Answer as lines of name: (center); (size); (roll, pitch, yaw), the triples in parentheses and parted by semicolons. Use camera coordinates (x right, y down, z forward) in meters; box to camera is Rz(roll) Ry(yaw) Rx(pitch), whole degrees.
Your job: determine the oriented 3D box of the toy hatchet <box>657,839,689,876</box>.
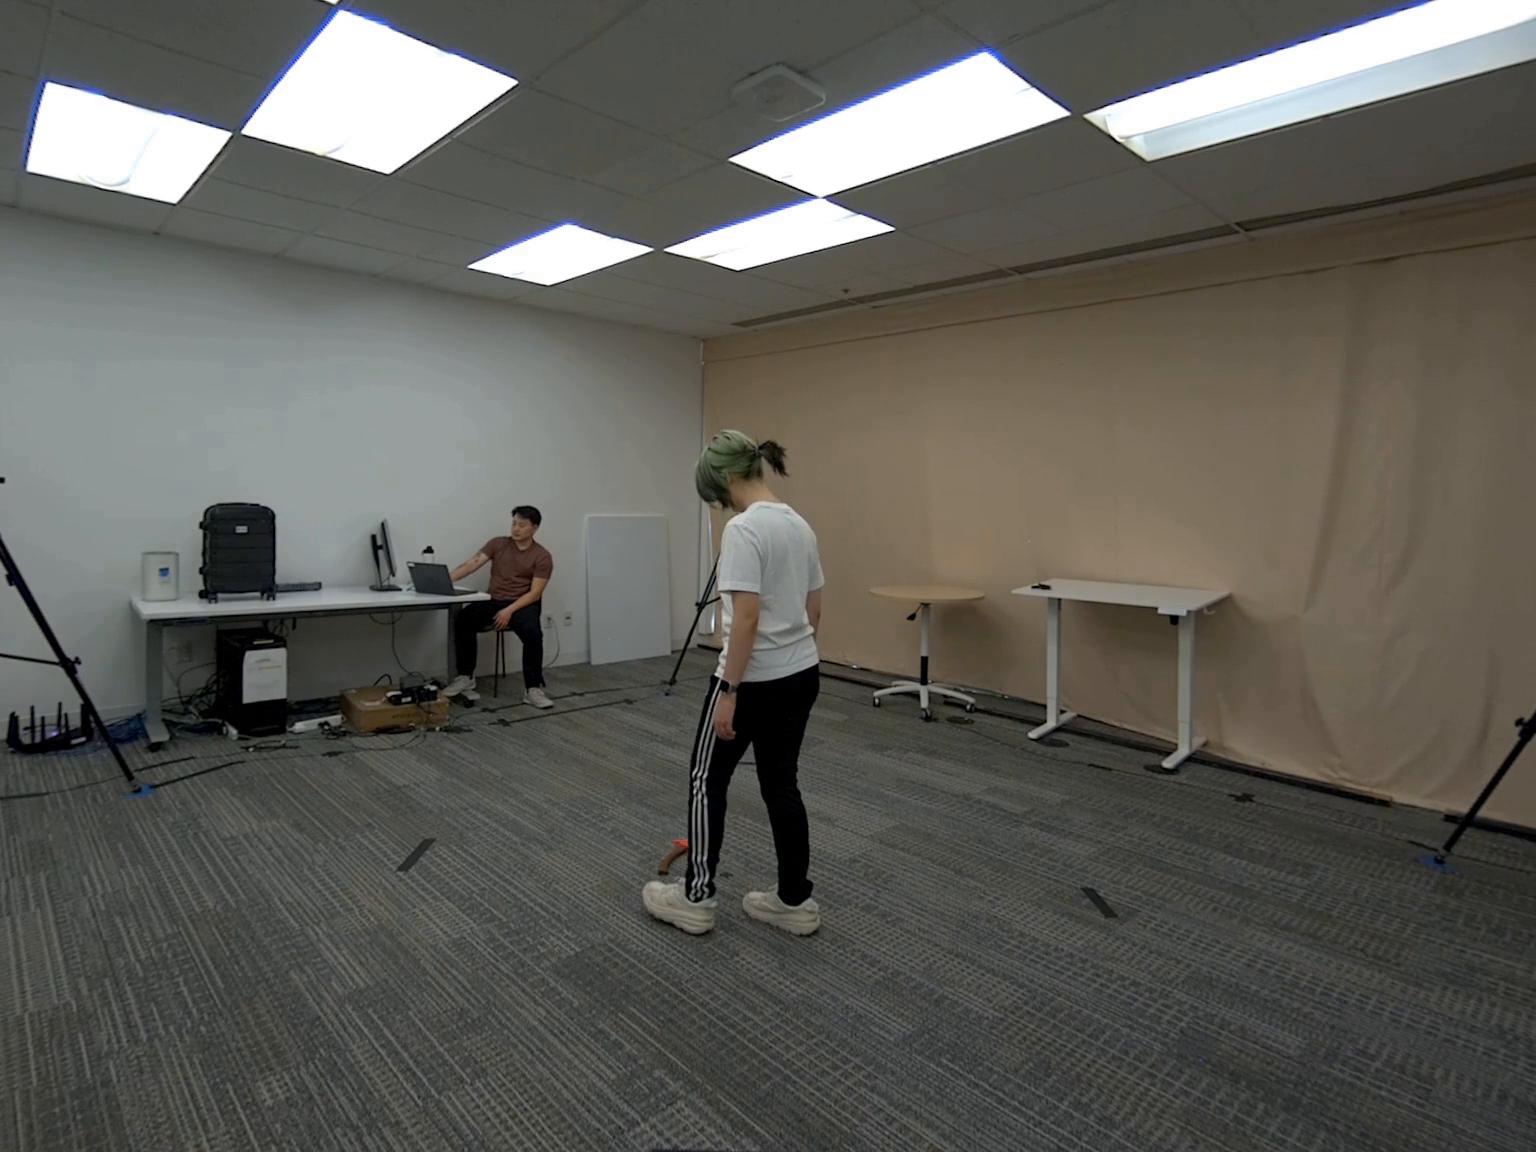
toy hatchet: (-0.336, 1.081, 3.211); (0.132, 0.029, 0.270); (6, 8, 6)
